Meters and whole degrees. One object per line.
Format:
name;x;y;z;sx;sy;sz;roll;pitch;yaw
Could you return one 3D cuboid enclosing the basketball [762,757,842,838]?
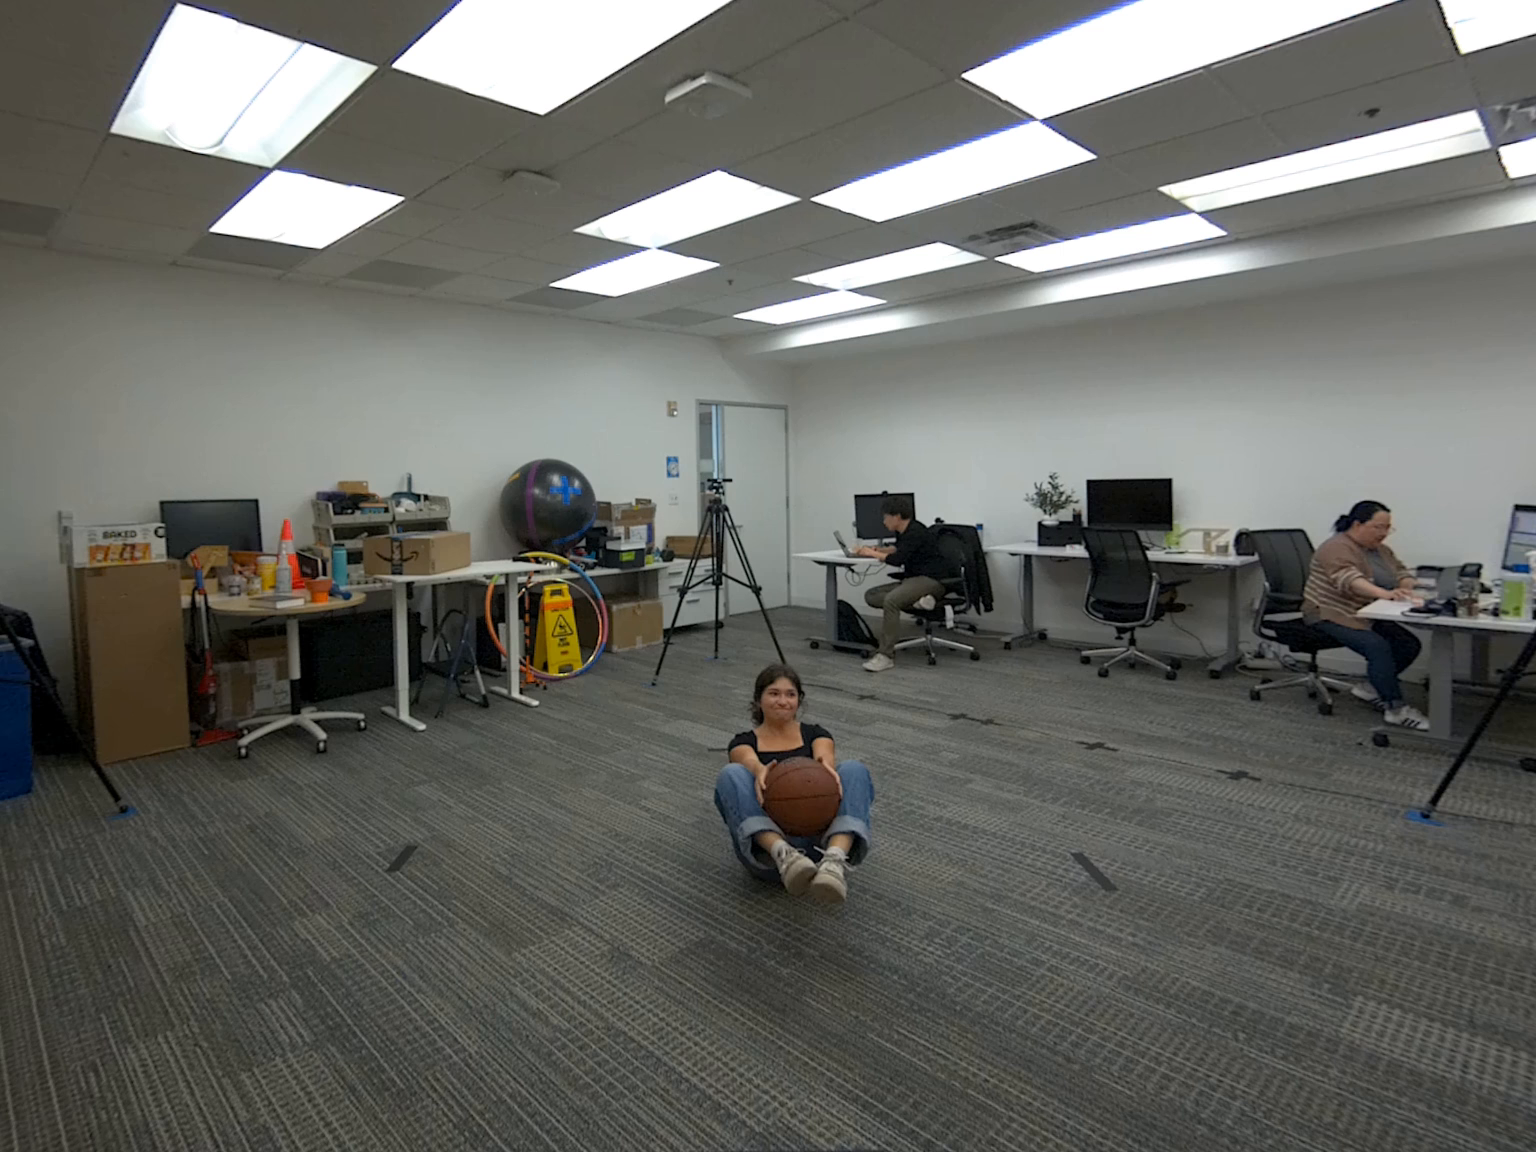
basketball;0.100;0.676;2.658;0.236;0.235;0.237;-1;5;-2
